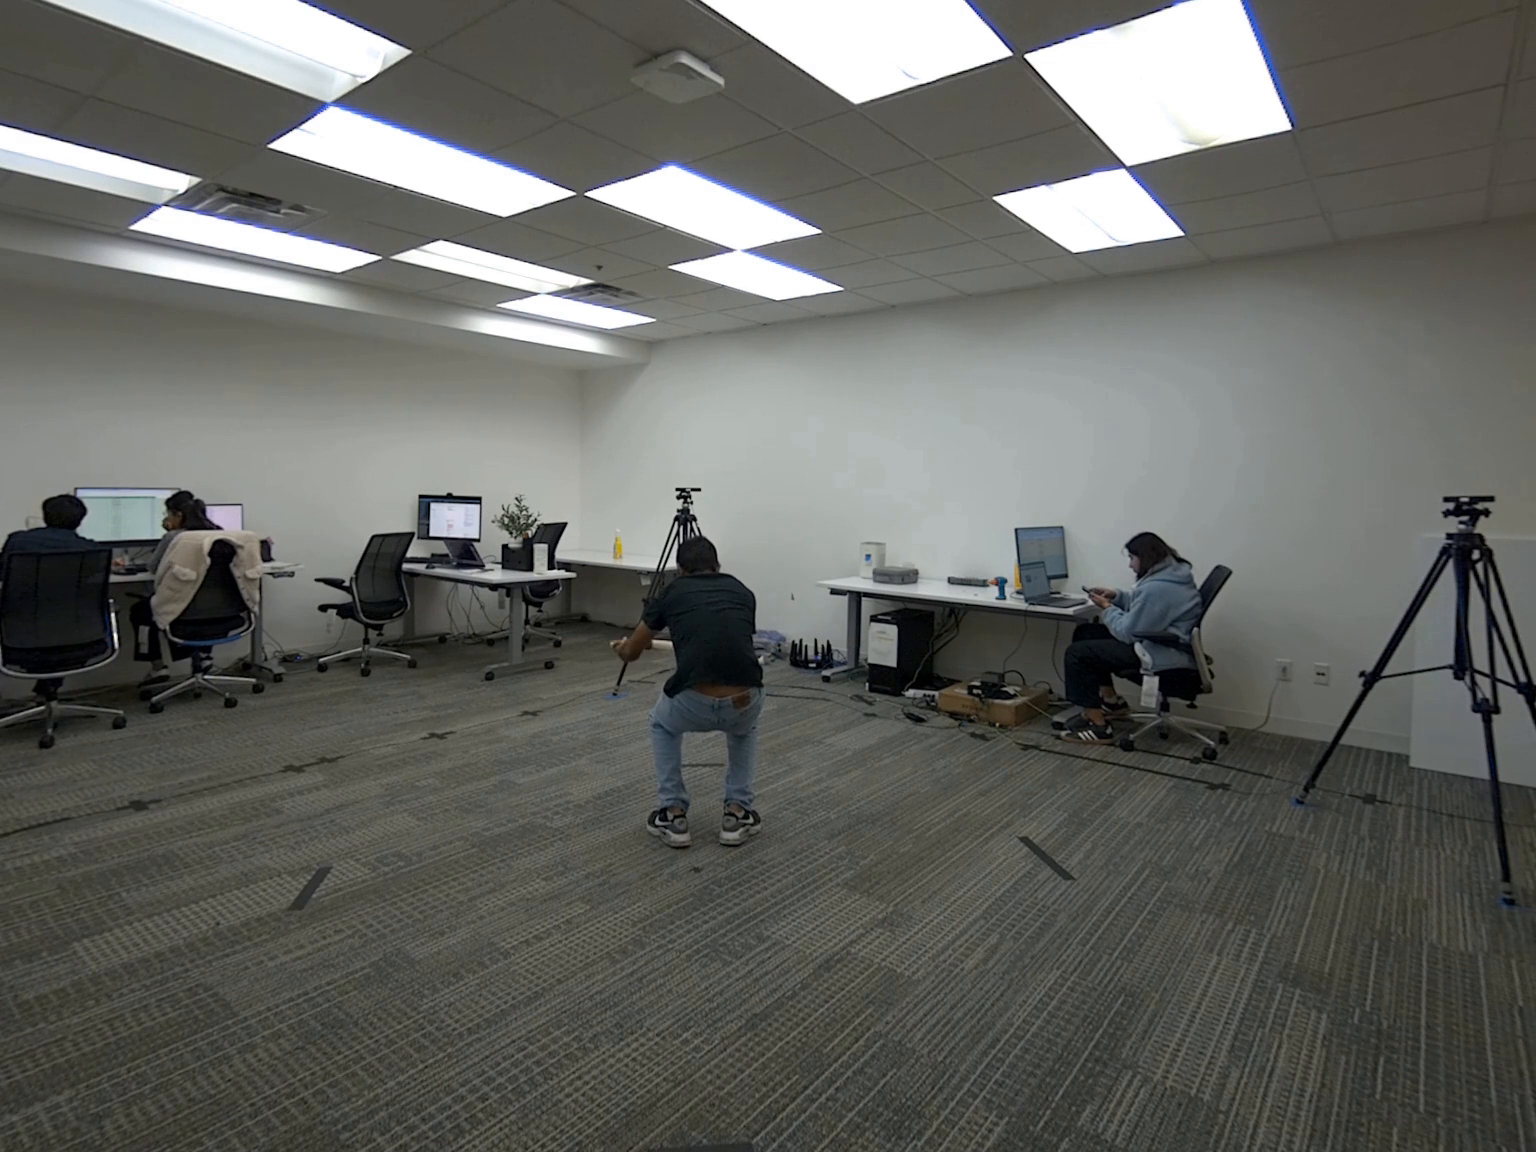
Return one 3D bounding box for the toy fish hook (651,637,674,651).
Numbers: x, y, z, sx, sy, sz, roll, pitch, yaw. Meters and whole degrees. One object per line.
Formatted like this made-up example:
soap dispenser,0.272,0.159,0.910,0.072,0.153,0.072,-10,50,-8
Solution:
toy fish hook,-0.493,0.304,4.018,0.504,0.048,0.229,3,16,-5
